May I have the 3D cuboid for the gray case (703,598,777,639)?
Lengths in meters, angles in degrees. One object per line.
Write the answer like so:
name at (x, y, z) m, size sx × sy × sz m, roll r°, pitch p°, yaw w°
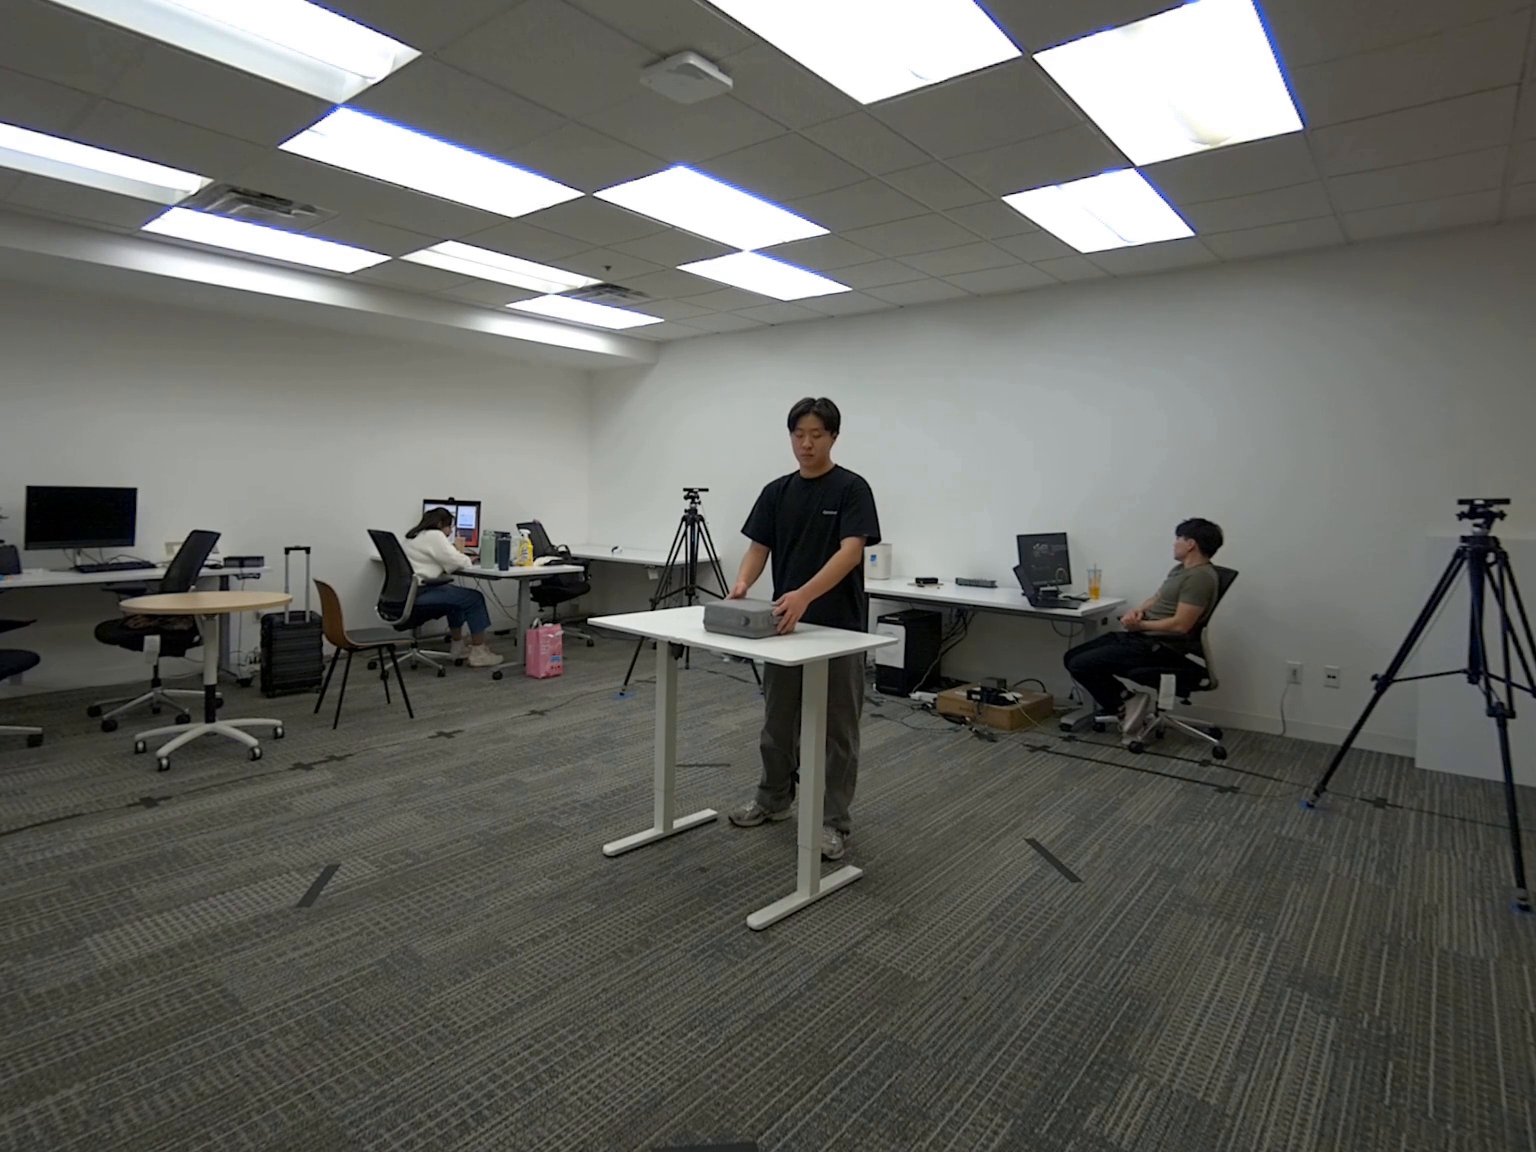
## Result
gray case at (-0.075, 0.149, 3.024) m, size 0.297 × 0.102 × 0.255 m, roll 6°, pitch 8°, yaw 40°
